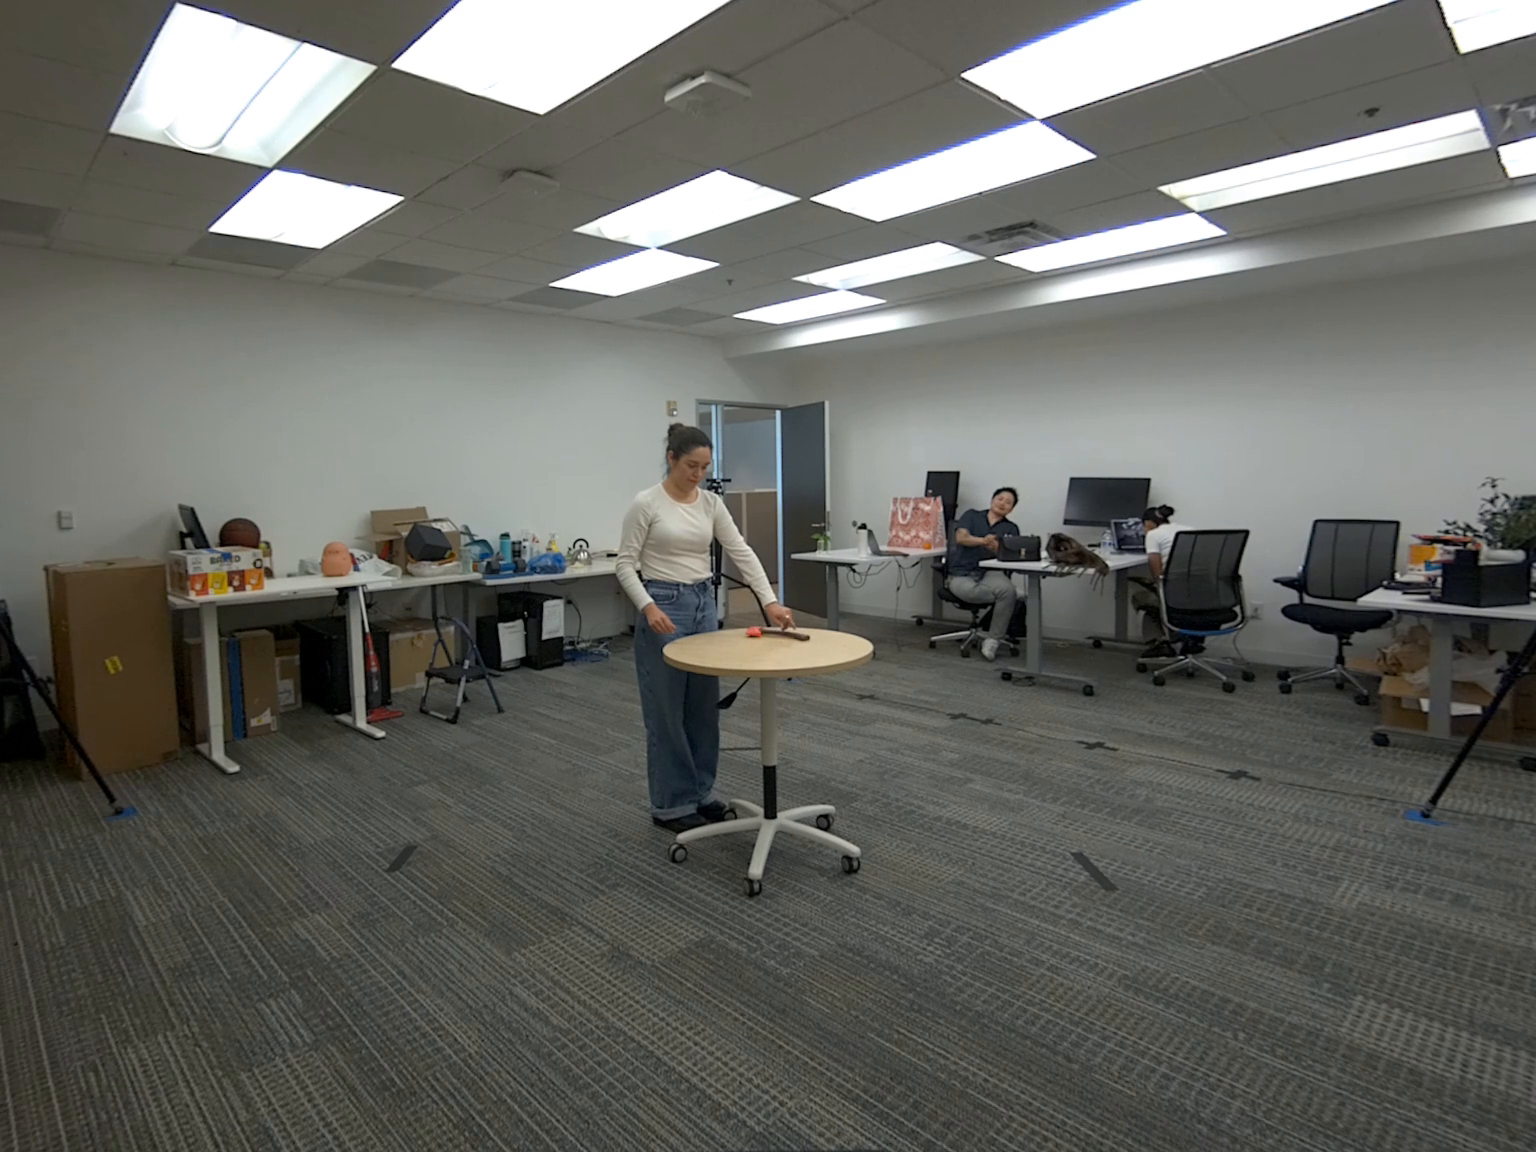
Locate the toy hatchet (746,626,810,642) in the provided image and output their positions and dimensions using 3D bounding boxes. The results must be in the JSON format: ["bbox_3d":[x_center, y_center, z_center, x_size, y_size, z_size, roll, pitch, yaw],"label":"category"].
[{"bbox_3d":[0.021,0.225,3.273,0.127,0.029,0.279,-3,8,-42],"label":"toy hatchet"}]
